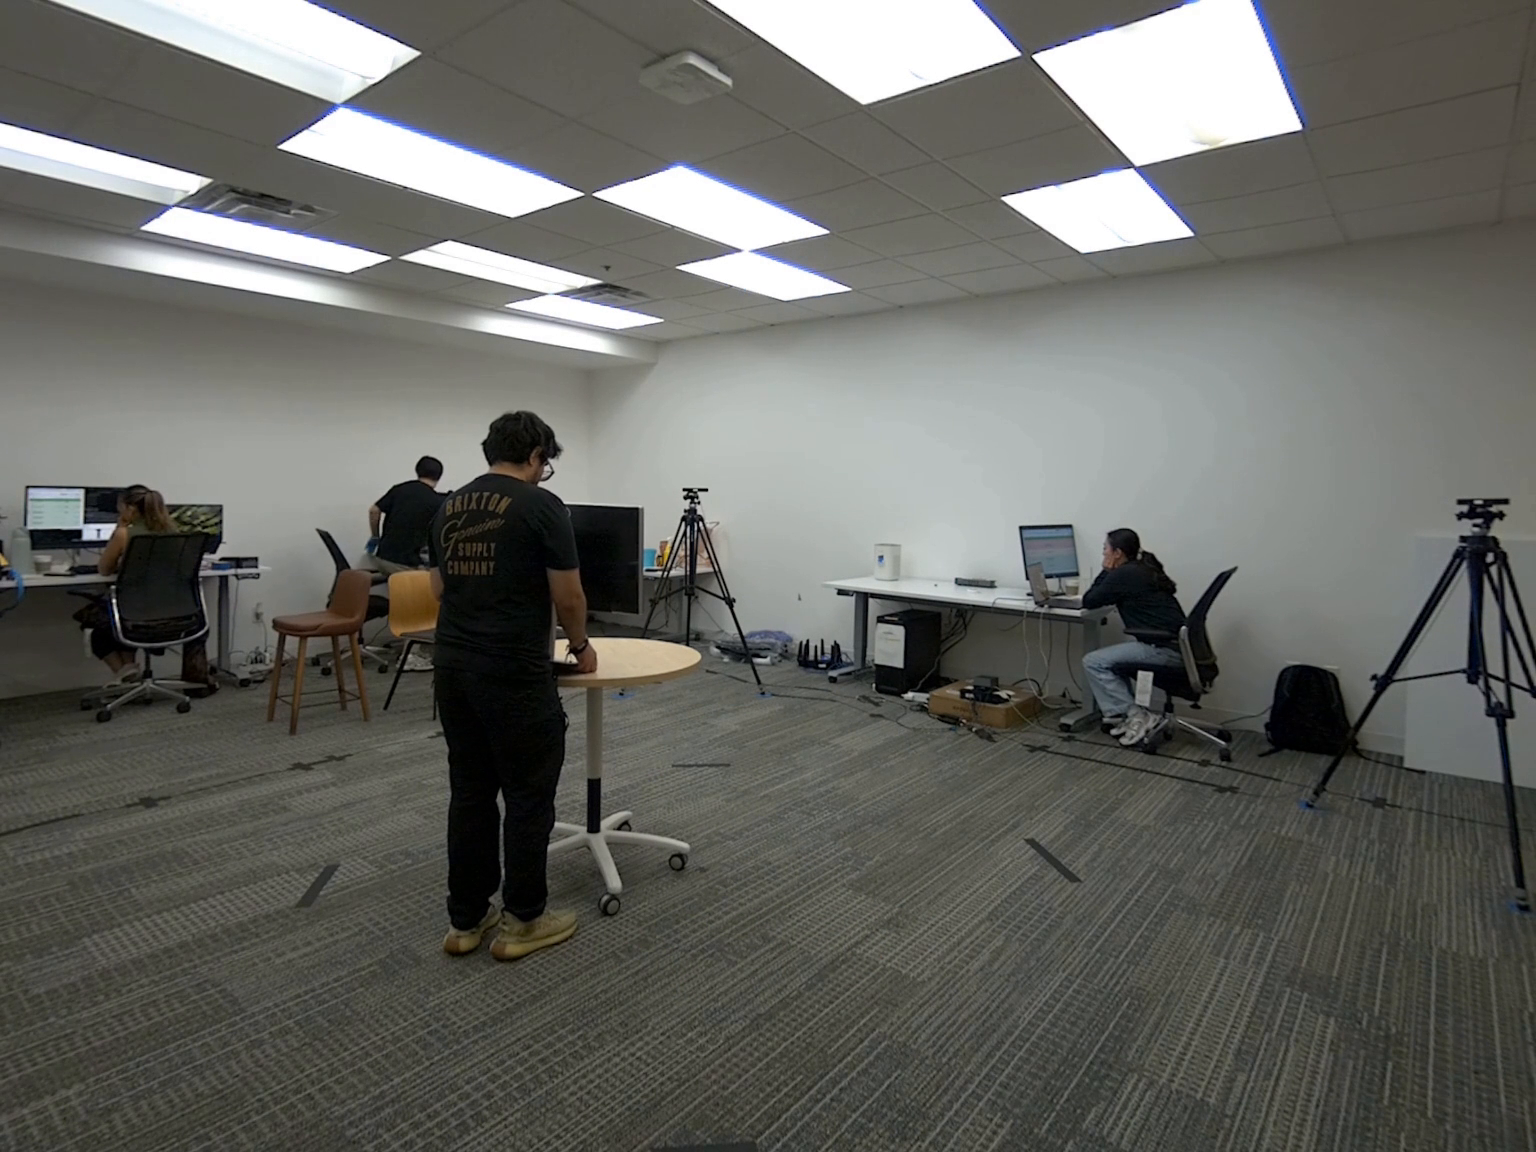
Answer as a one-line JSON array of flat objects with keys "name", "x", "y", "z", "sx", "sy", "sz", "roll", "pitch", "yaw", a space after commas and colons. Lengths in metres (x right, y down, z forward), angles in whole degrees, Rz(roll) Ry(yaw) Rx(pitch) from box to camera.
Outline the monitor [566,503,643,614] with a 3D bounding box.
[{"name": "monitor", "x": -0.714, "y": 0.022, "z": 2.838, "sx": 0.578, "sy": 0.554, "sz": 0.205, "roll": 4, "pitch": 0, "yaw": 20}]
